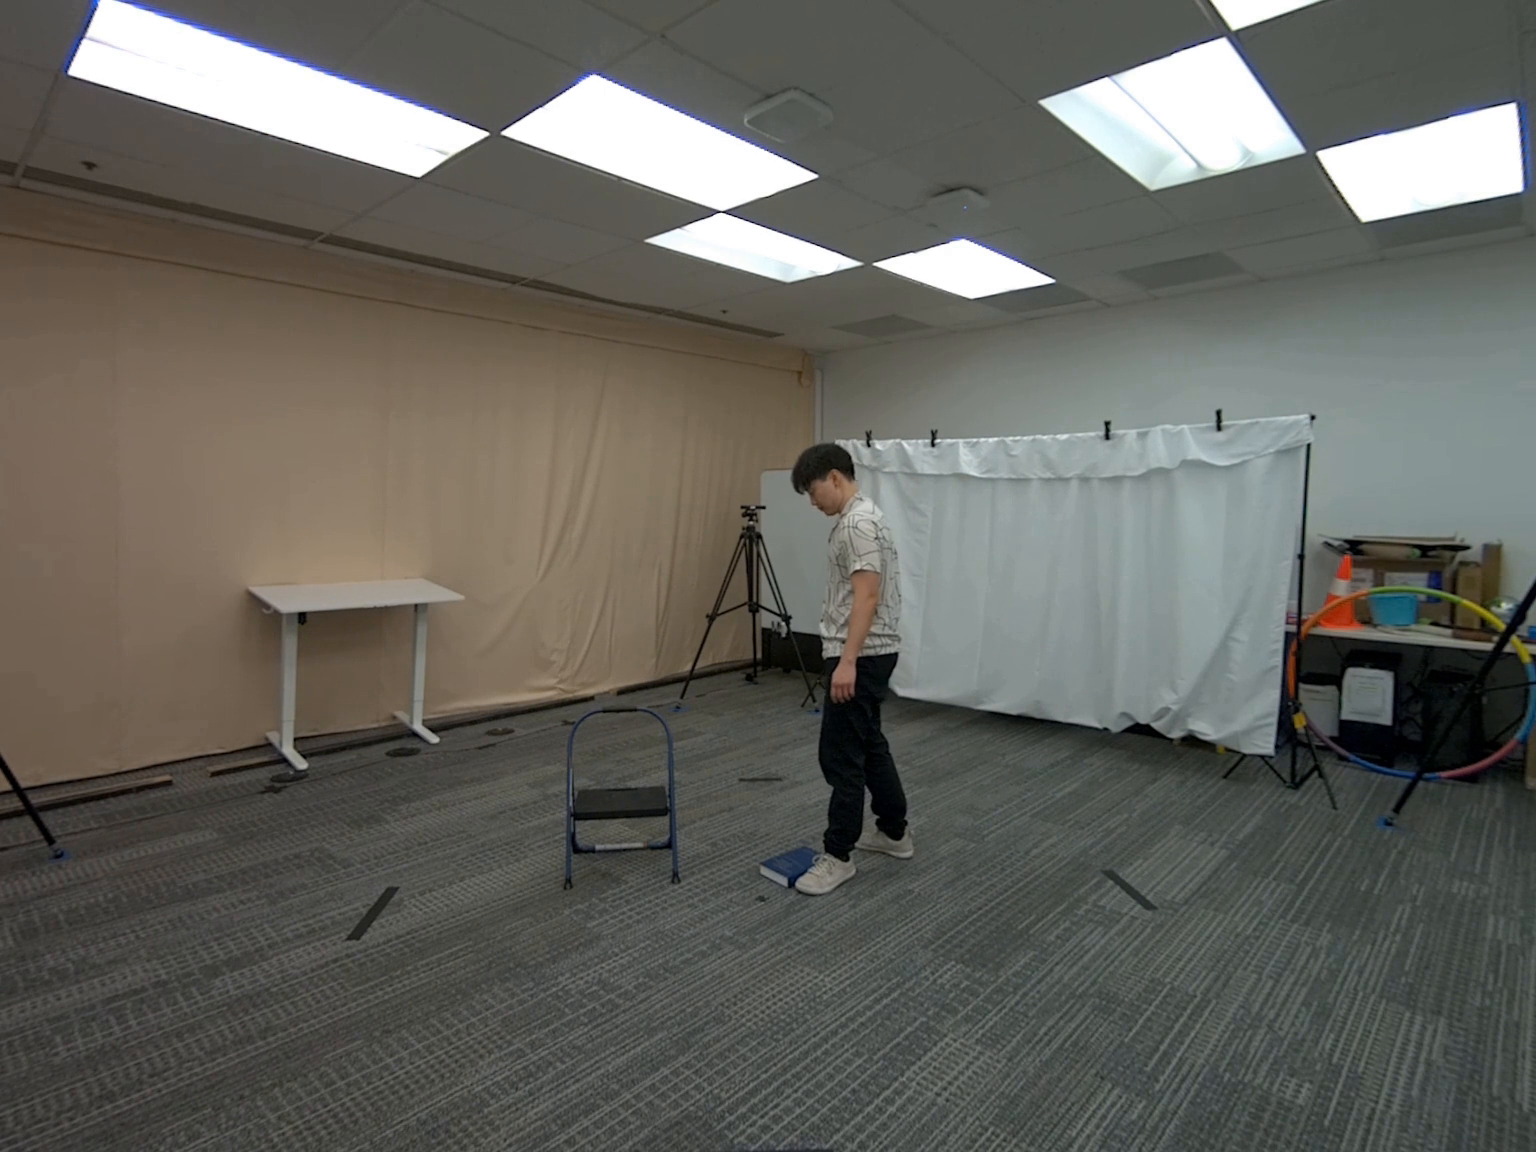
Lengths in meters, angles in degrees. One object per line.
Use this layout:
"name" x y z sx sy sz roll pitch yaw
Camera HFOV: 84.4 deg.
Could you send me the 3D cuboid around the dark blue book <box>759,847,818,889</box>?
"dark blue book" 0.111 1.099 3.194 0.238 0.045 0.169 -6 7 -40
